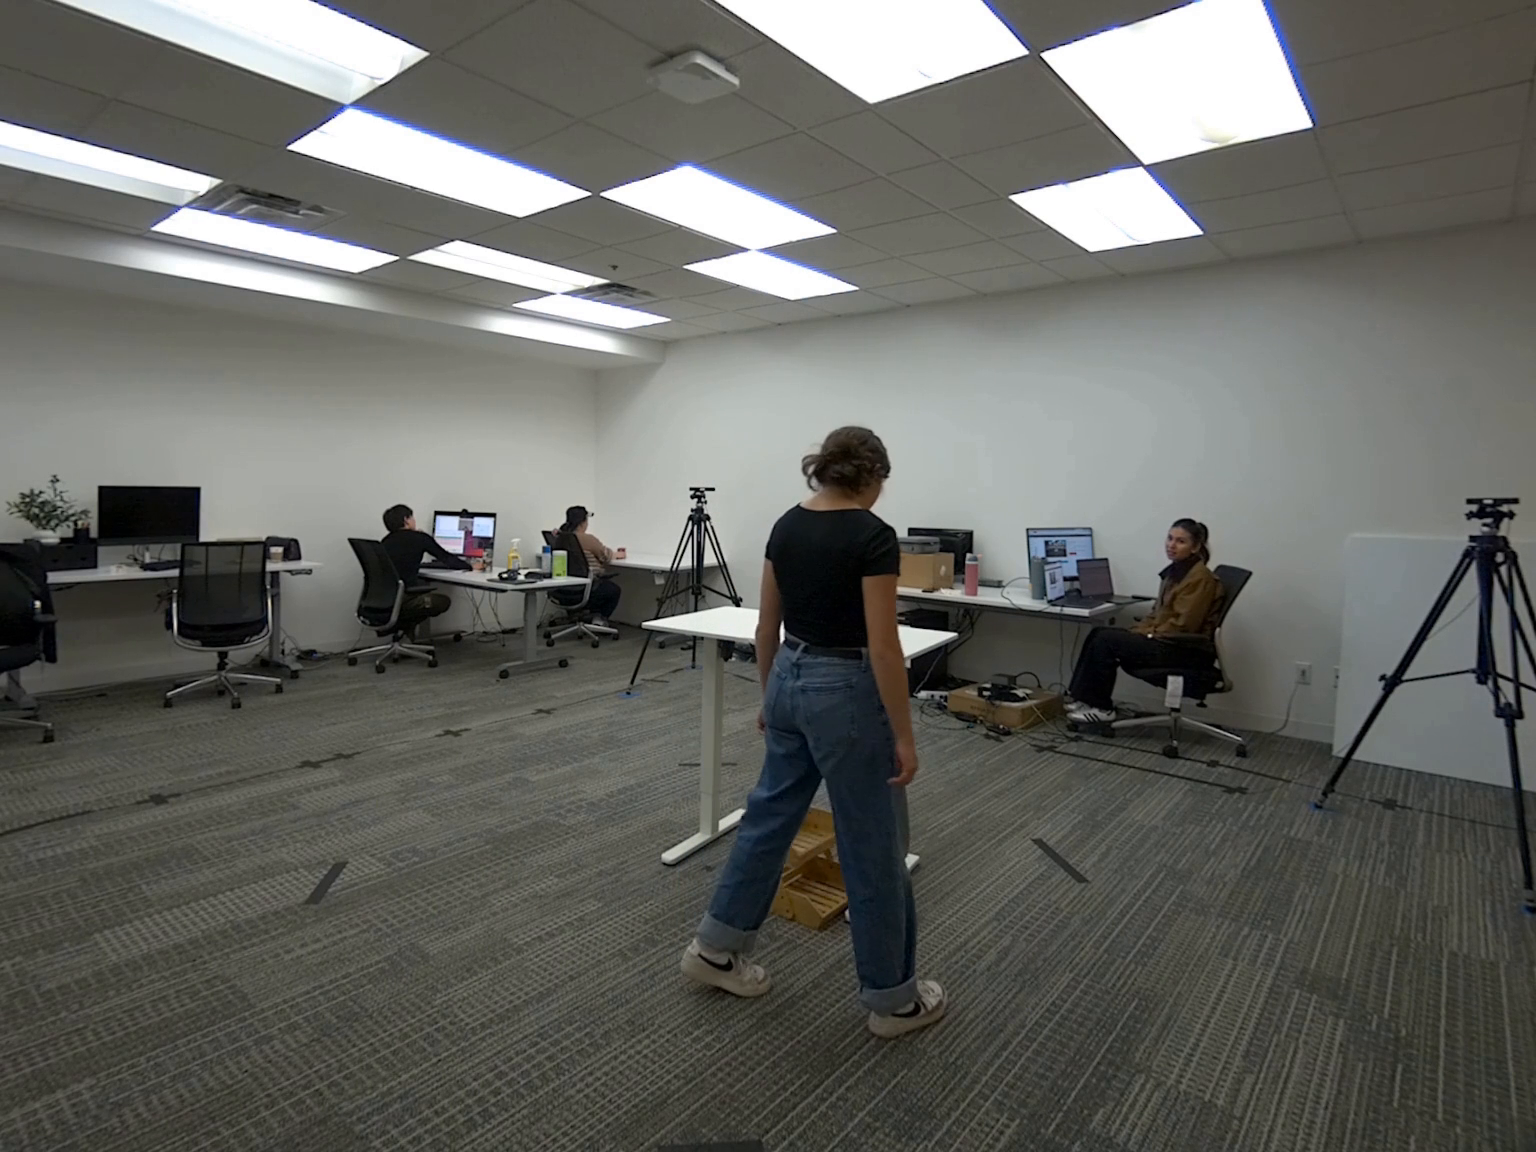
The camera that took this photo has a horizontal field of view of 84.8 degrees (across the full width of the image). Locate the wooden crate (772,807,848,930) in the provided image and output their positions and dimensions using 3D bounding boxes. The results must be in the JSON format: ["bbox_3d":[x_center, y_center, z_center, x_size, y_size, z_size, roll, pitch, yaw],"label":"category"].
[{"bbox_3d":[0.135,0.963,2.877,0.312,0.272,0.315,3,5,37],"label":"wooden crate"}]
